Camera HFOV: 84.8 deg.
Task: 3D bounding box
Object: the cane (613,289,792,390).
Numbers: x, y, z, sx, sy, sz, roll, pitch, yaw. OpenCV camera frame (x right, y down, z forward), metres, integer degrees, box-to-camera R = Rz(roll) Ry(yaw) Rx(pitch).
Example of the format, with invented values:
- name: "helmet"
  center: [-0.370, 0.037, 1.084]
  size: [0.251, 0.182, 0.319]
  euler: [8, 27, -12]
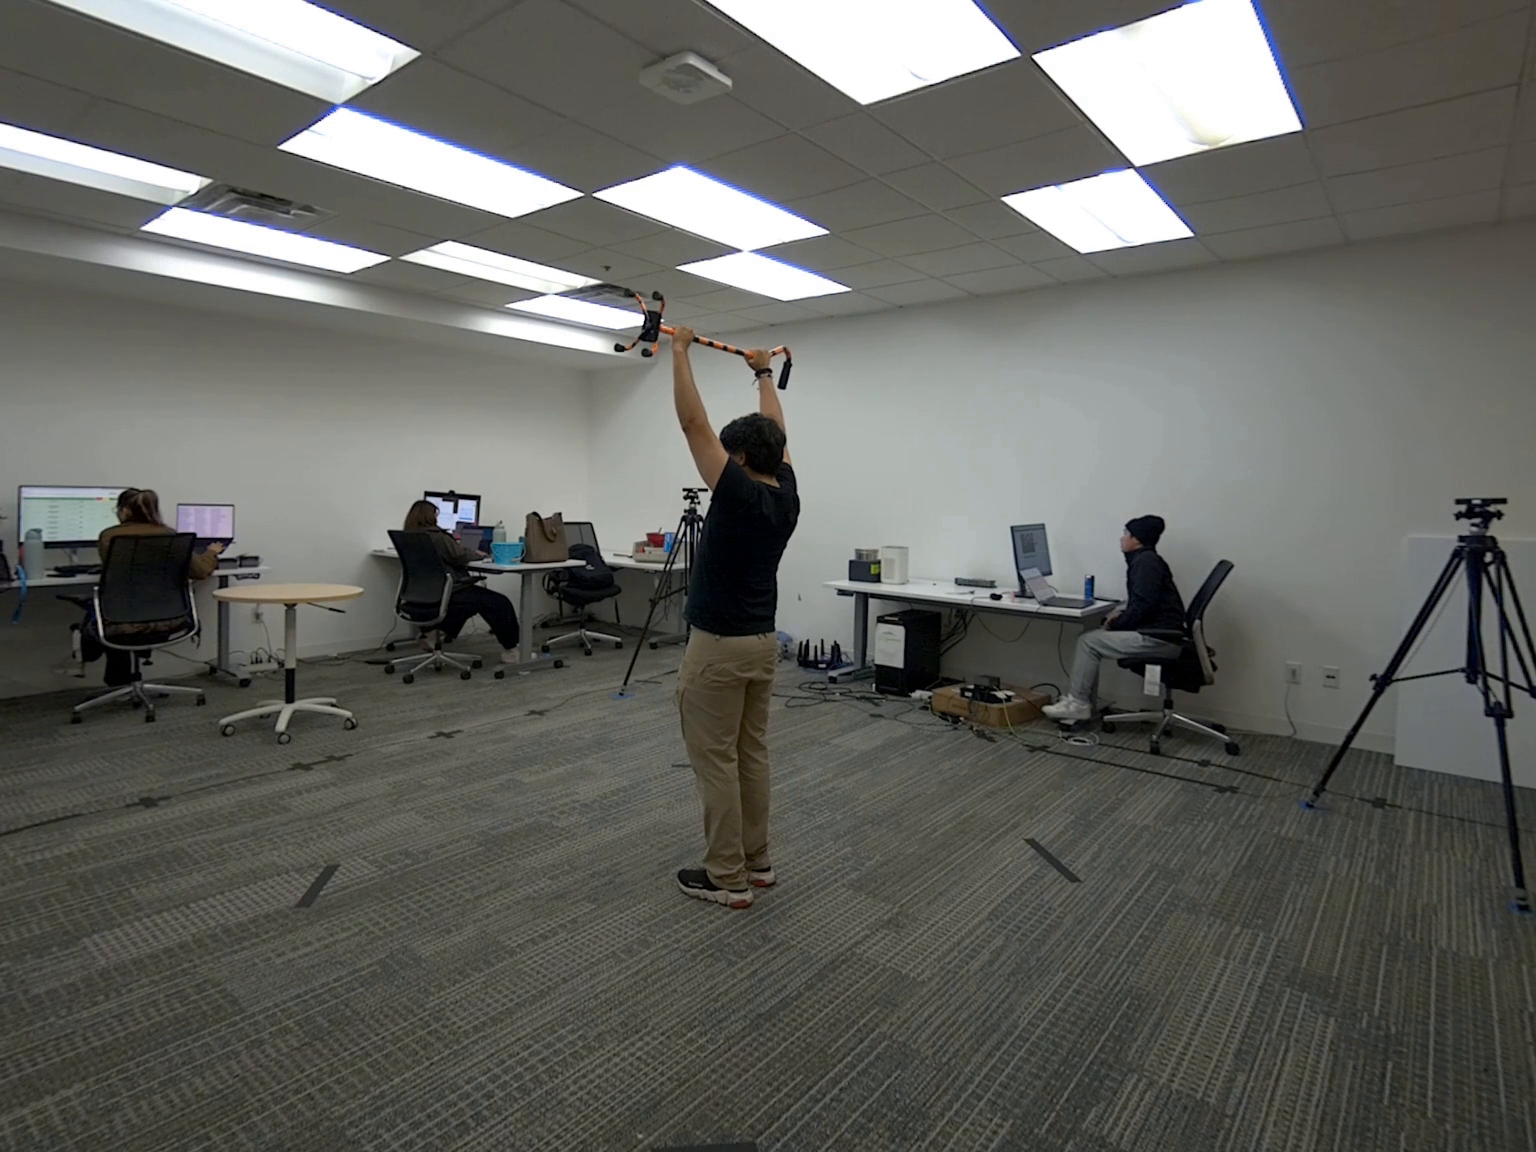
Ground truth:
- name: "cane"
  center: [-0.182, -0.830, 3.057]
  size: [0.157, 0.205, 0.882]
  euler: [20, 14, 32]
